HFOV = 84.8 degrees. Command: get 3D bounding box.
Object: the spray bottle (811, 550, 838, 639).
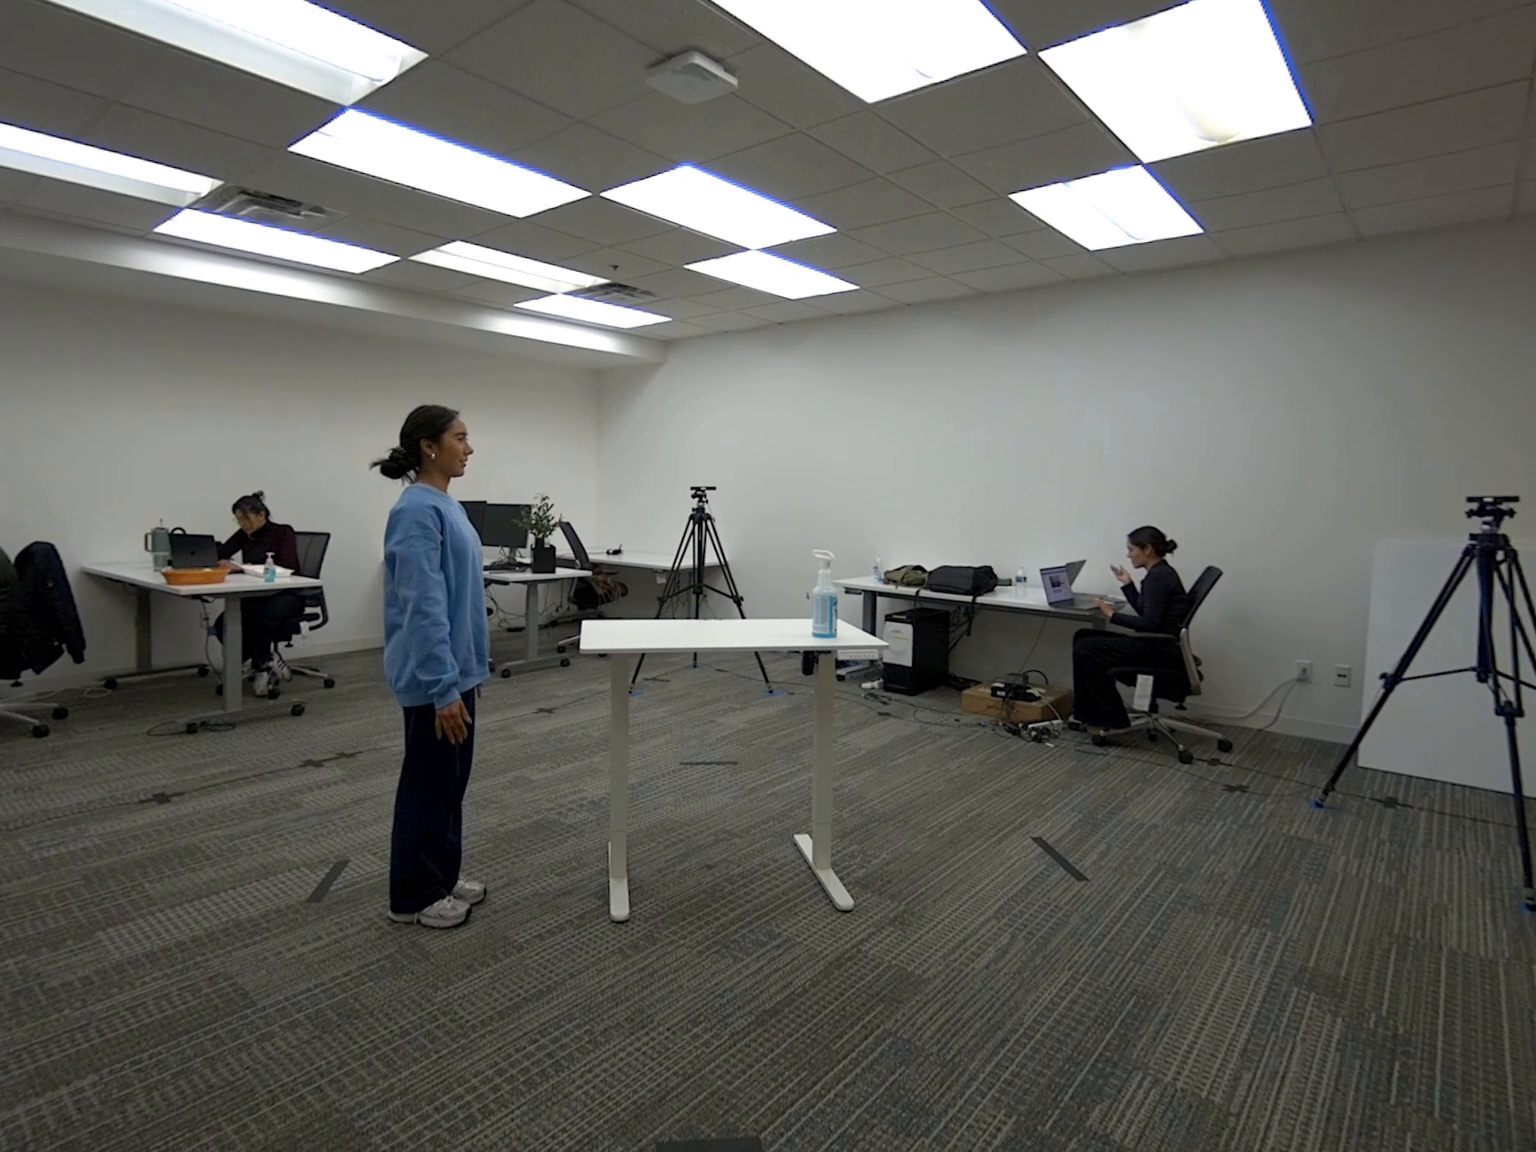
[{"bbox_3d":[0.189,0.061,2.928,0.085,0.297,0.092,0,1,-26],"label":"spray bottle"}]
